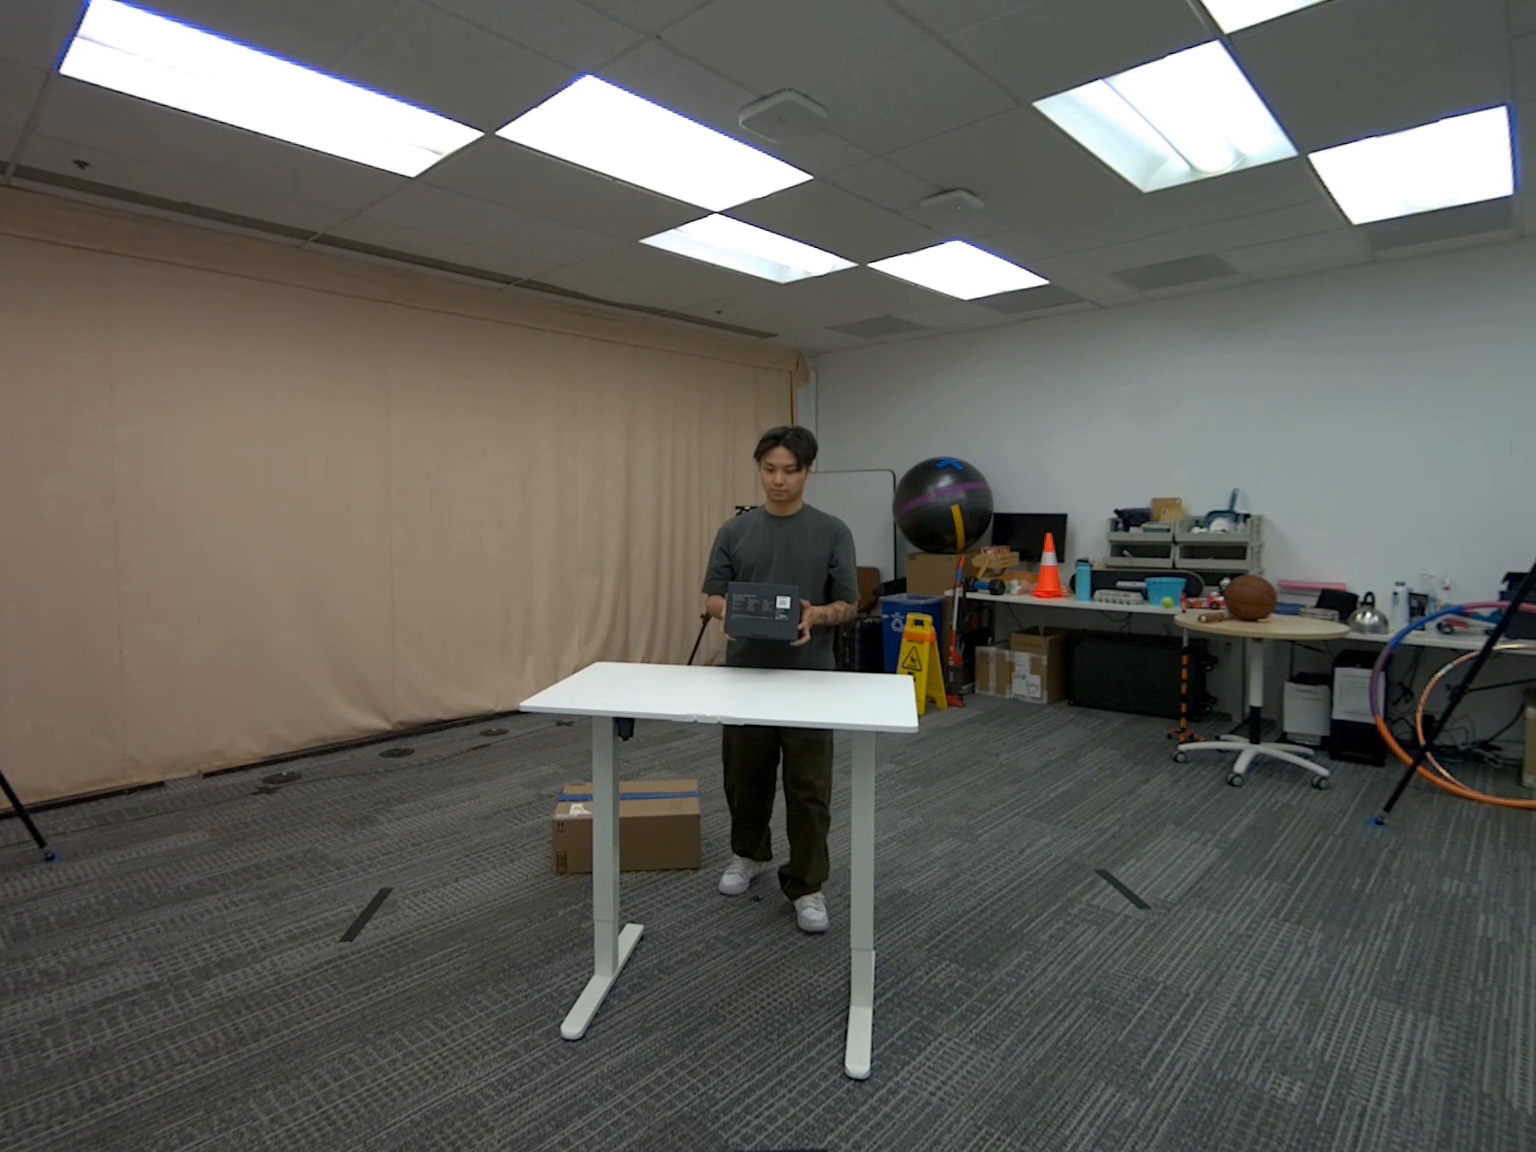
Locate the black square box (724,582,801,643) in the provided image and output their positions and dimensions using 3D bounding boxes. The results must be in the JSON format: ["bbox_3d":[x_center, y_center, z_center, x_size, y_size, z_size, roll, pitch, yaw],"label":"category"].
[{"bbox_3d":[-0.018,0.107,2.628,0.218,0.156,0.226,3,-5,3],"label":"black square box"}]
